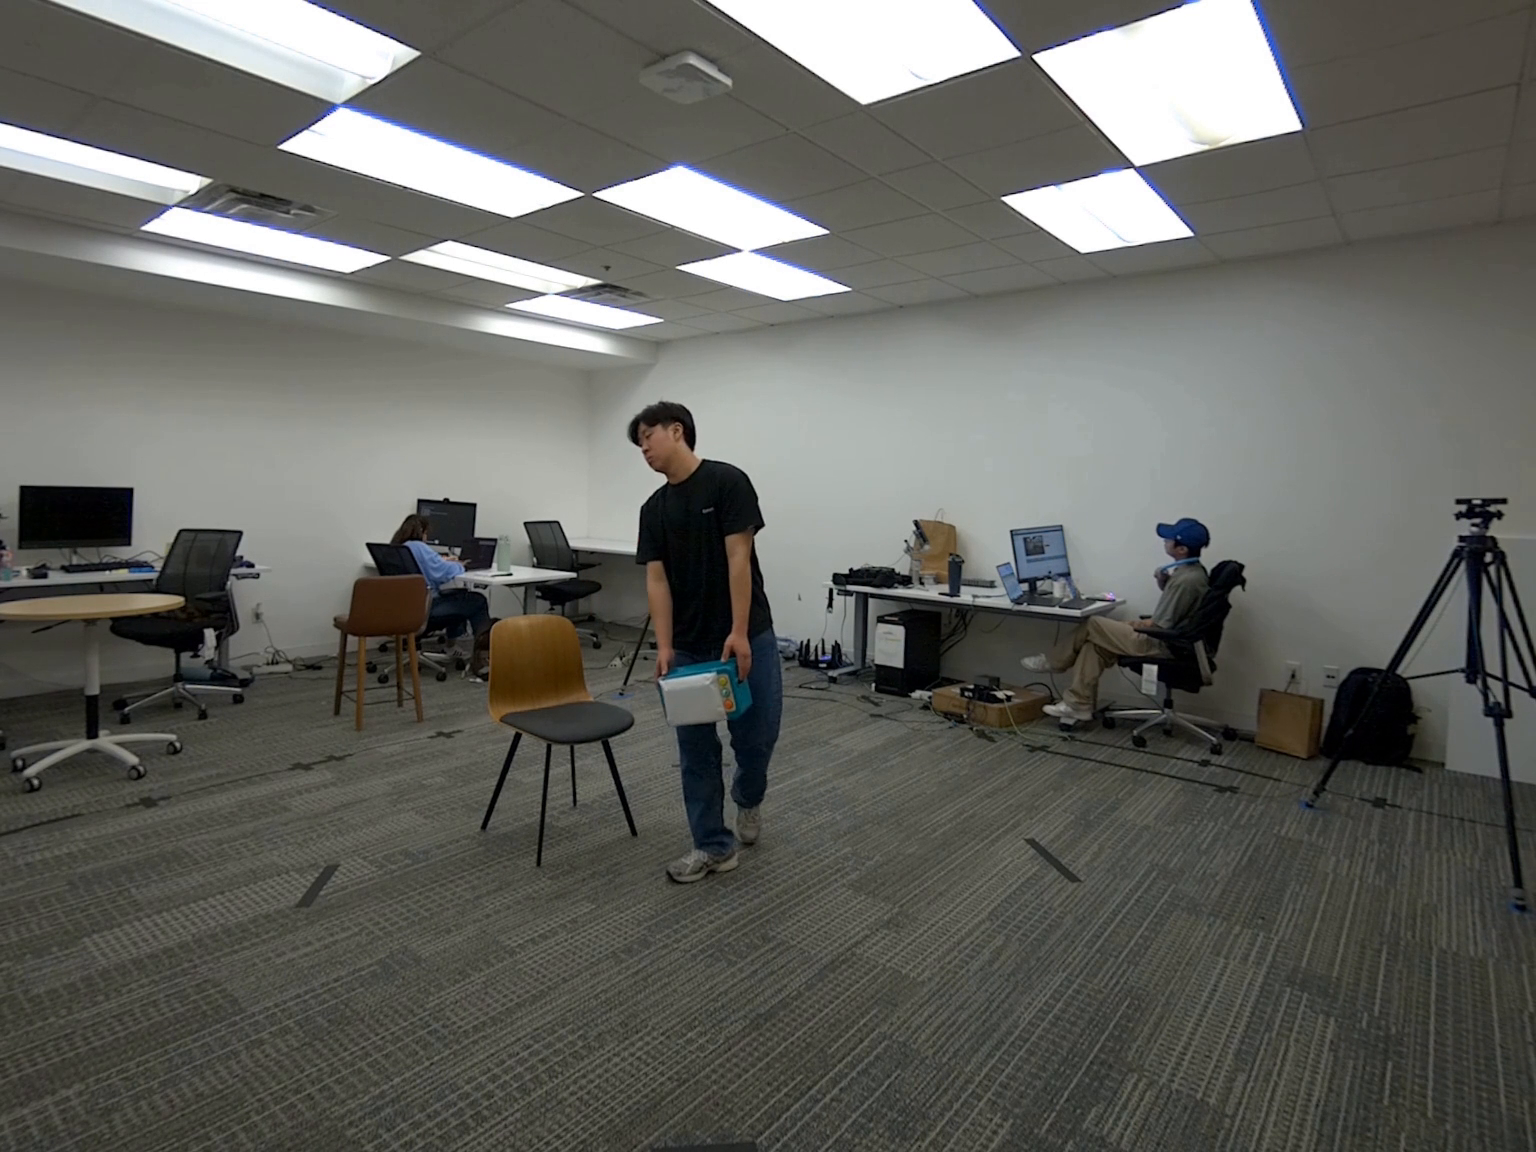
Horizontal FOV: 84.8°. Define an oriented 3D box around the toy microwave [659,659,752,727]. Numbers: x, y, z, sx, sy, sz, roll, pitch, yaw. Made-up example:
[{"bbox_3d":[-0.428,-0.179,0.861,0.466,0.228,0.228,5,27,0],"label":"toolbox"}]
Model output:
[{"bbox_3d":[-0.232,0.393,2.887,0.291,0.184,0.150,-11,3,22],"label":"toy microwave"}]
